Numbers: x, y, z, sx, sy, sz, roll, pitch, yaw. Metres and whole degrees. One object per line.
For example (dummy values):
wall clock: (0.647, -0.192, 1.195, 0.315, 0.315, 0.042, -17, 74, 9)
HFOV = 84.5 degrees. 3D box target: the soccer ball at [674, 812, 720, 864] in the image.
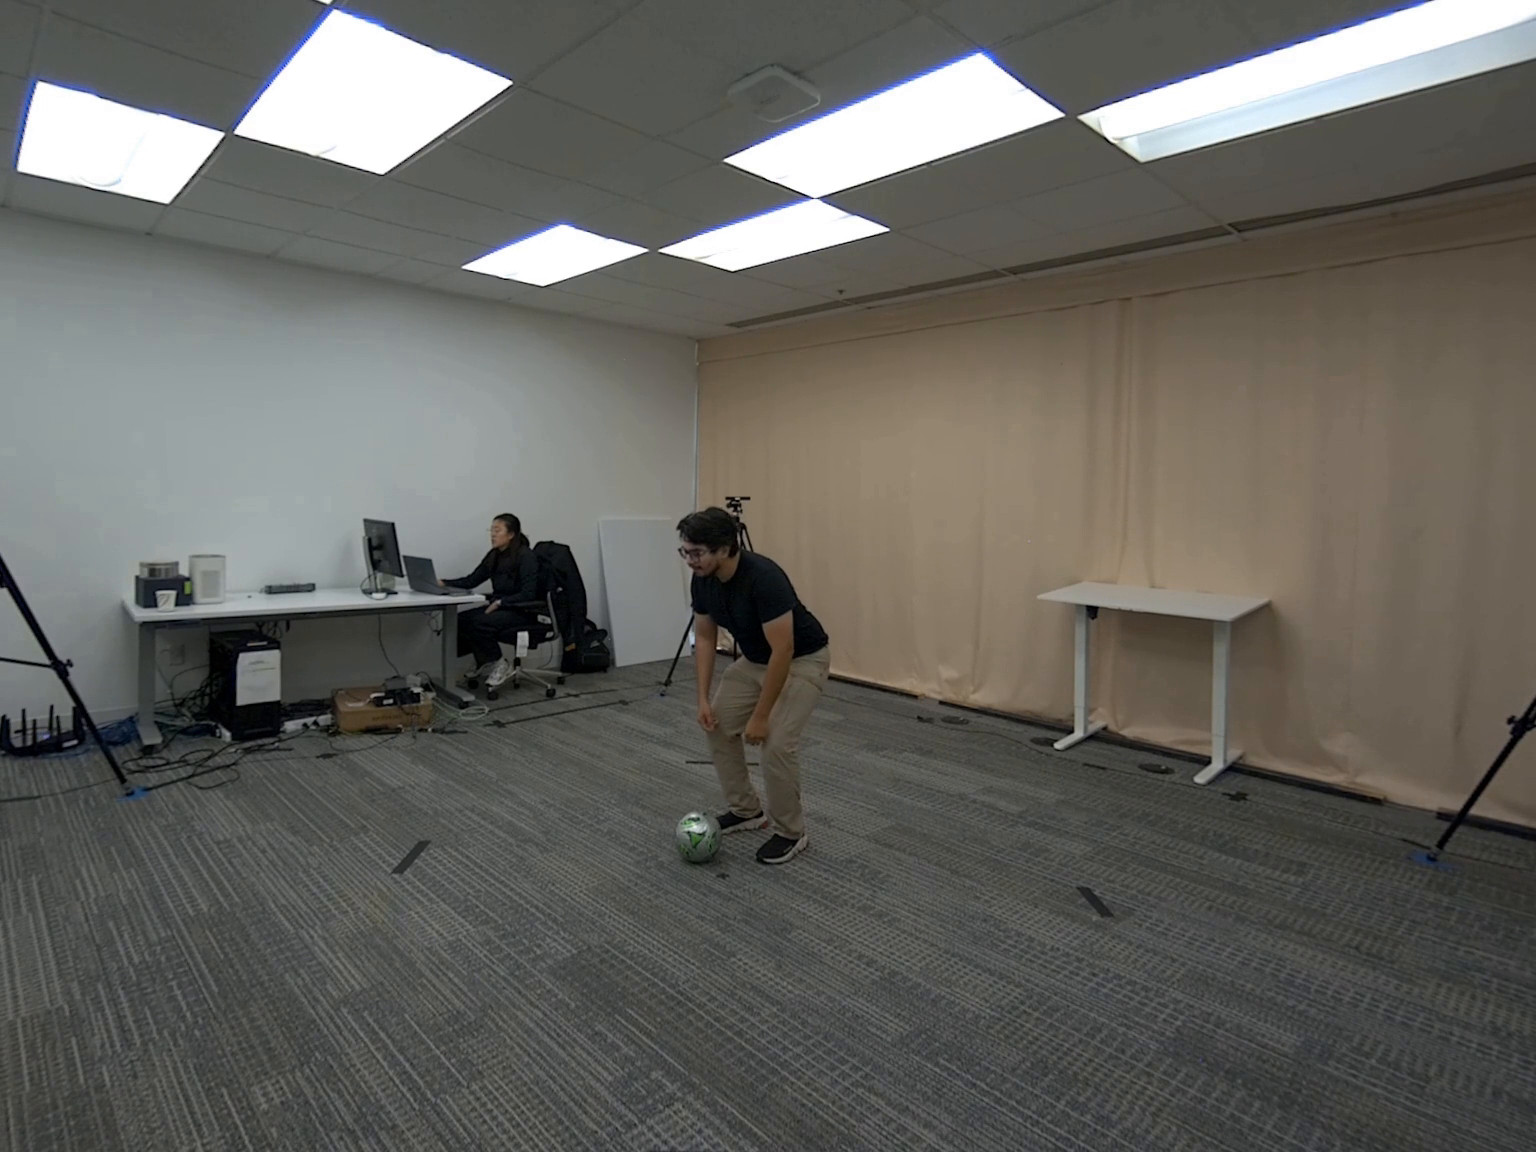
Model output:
soccer ball: (-0.275, 1.002, 3.222, 0.187, 0.187, 0.188, 1, 4, -1)
